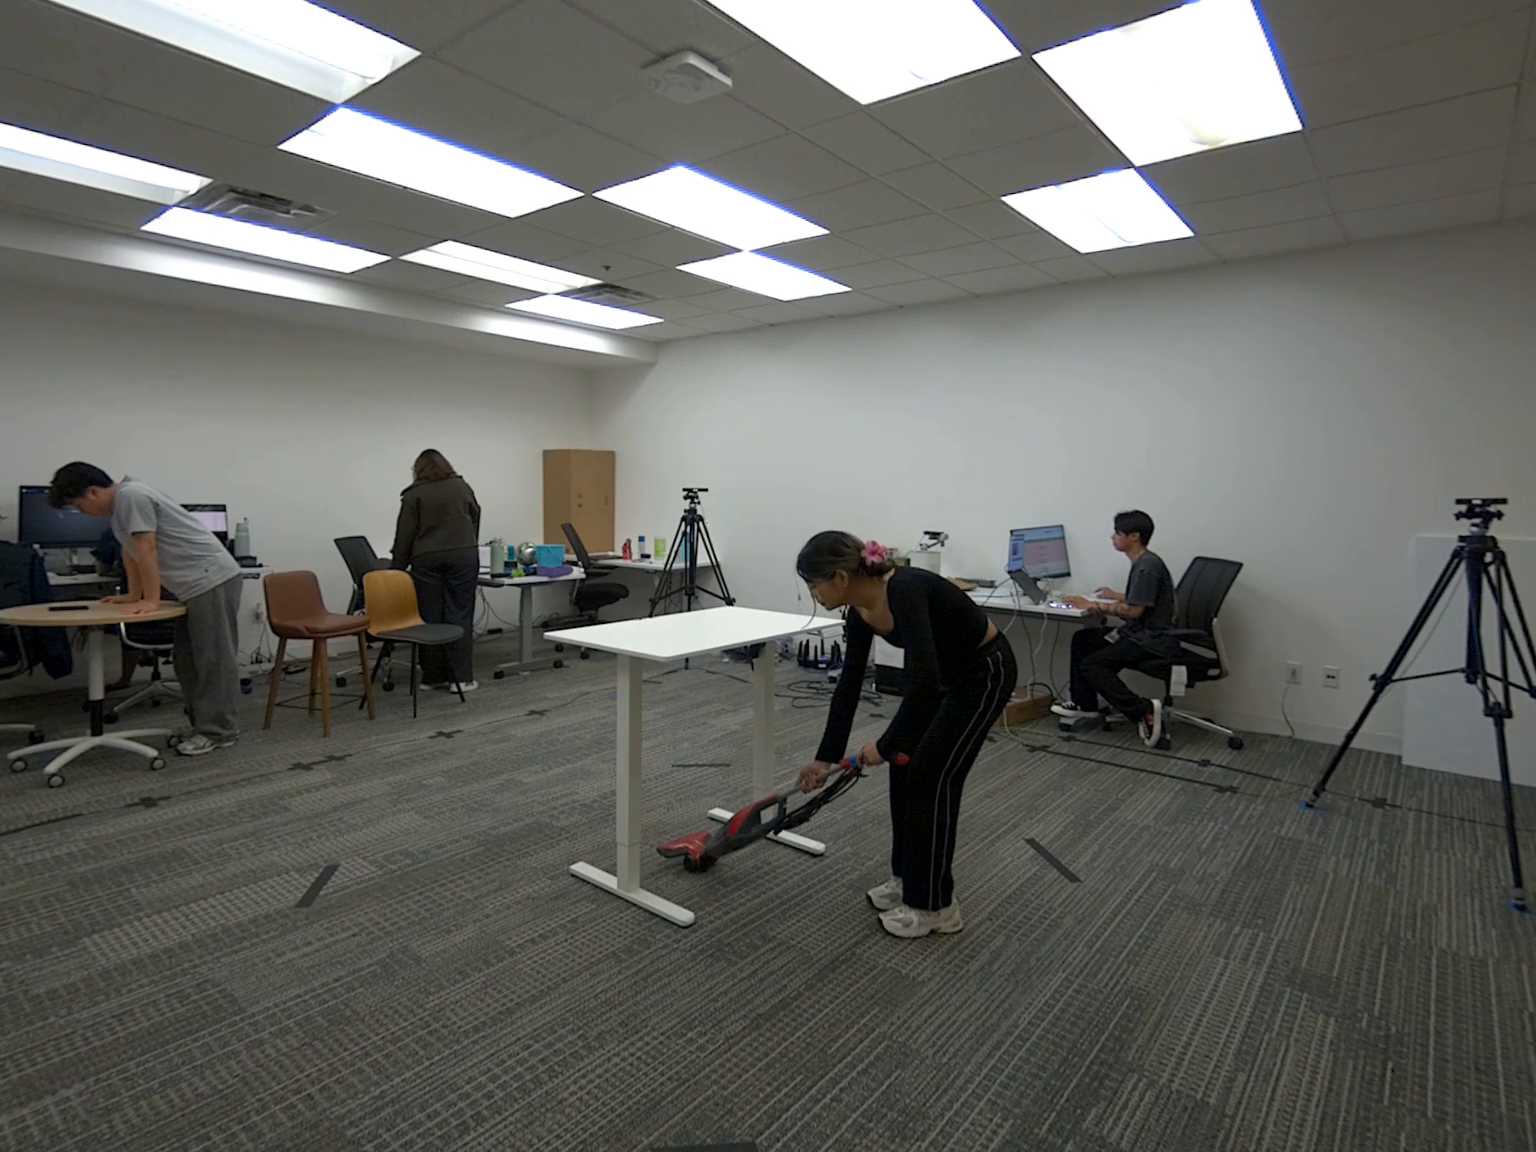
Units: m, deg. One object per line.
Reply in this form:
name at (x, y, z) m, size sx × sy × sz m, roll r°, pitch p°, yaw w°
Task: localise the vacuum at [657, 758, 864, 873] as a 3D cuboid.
vacuum at (0.044, 0.782, 2.854) m, size 1.059 × 0.147 × 0.245 m, roll -34°, pitch -17°, yaw 37°
